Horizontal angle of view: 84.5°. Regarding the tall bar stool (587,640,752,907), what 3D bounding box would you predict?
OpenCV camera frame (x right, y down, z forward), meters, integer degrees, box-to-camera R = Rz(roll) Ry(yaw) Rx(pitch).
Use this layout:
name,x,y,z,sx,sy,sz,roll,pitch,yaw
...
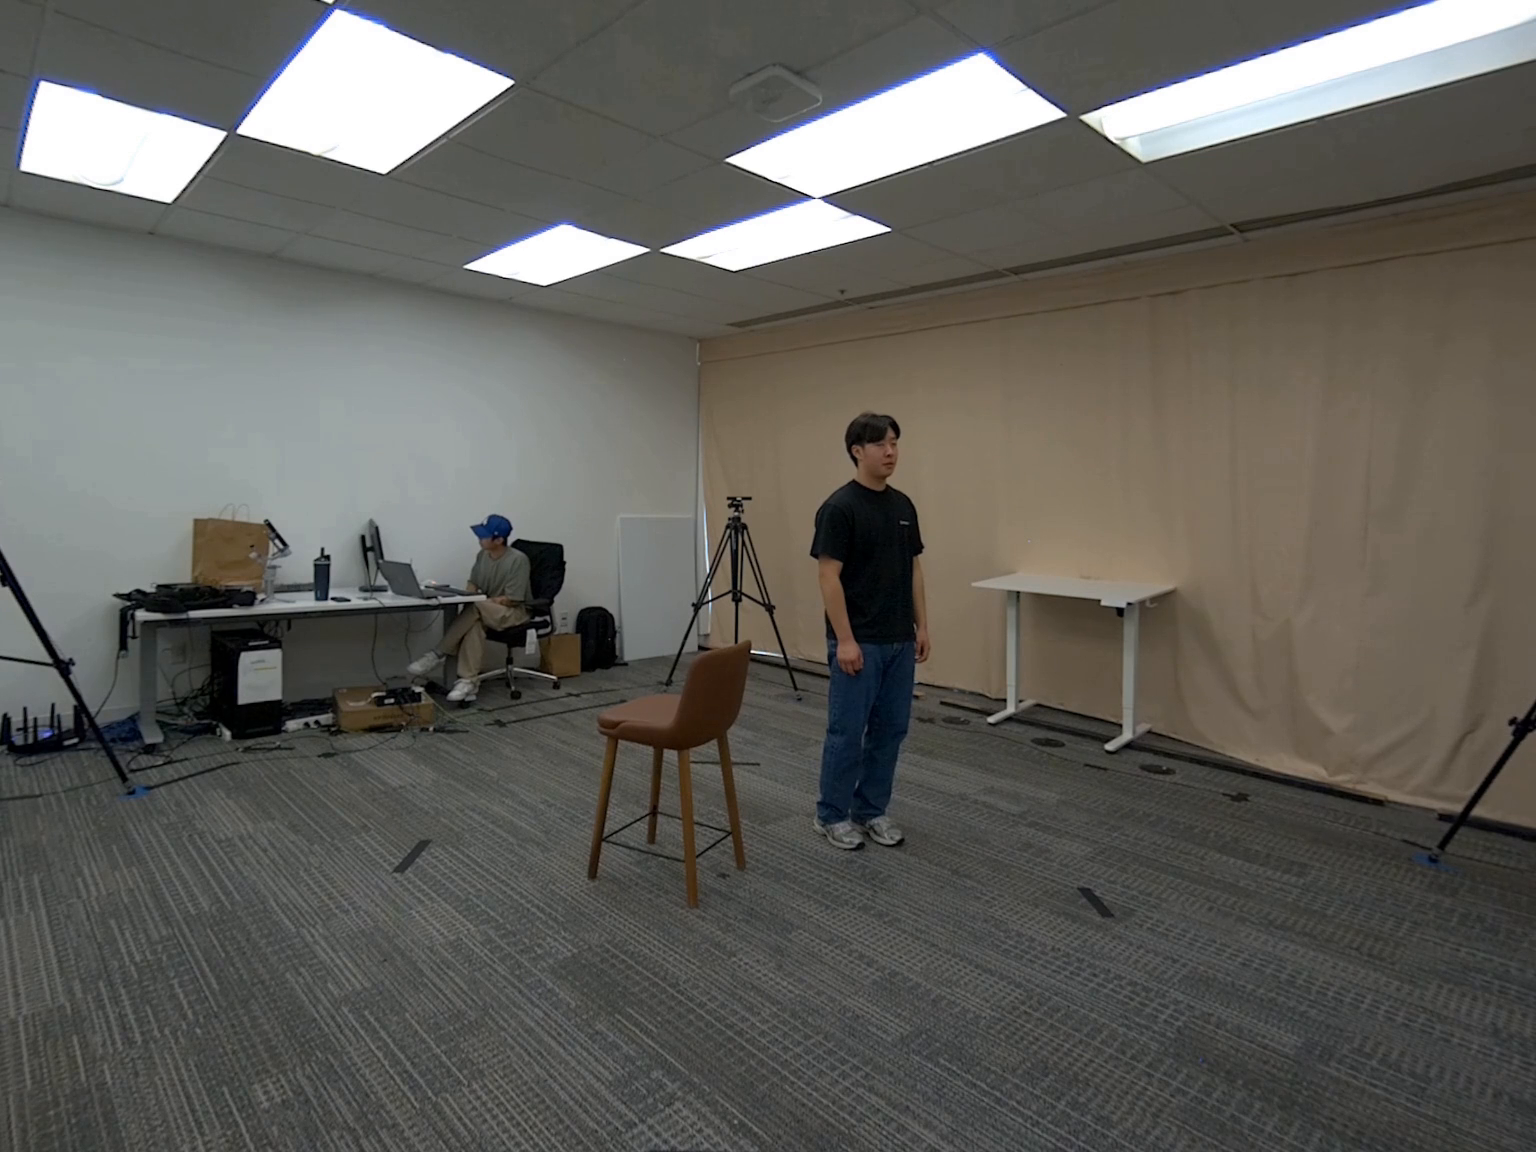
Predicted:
name,x,y,z,sx,sy,sz,roll,pitch,yaw
tall bar stool,-0.354,0.670,3.088,0.478,0.887,0.448,5,5,29
